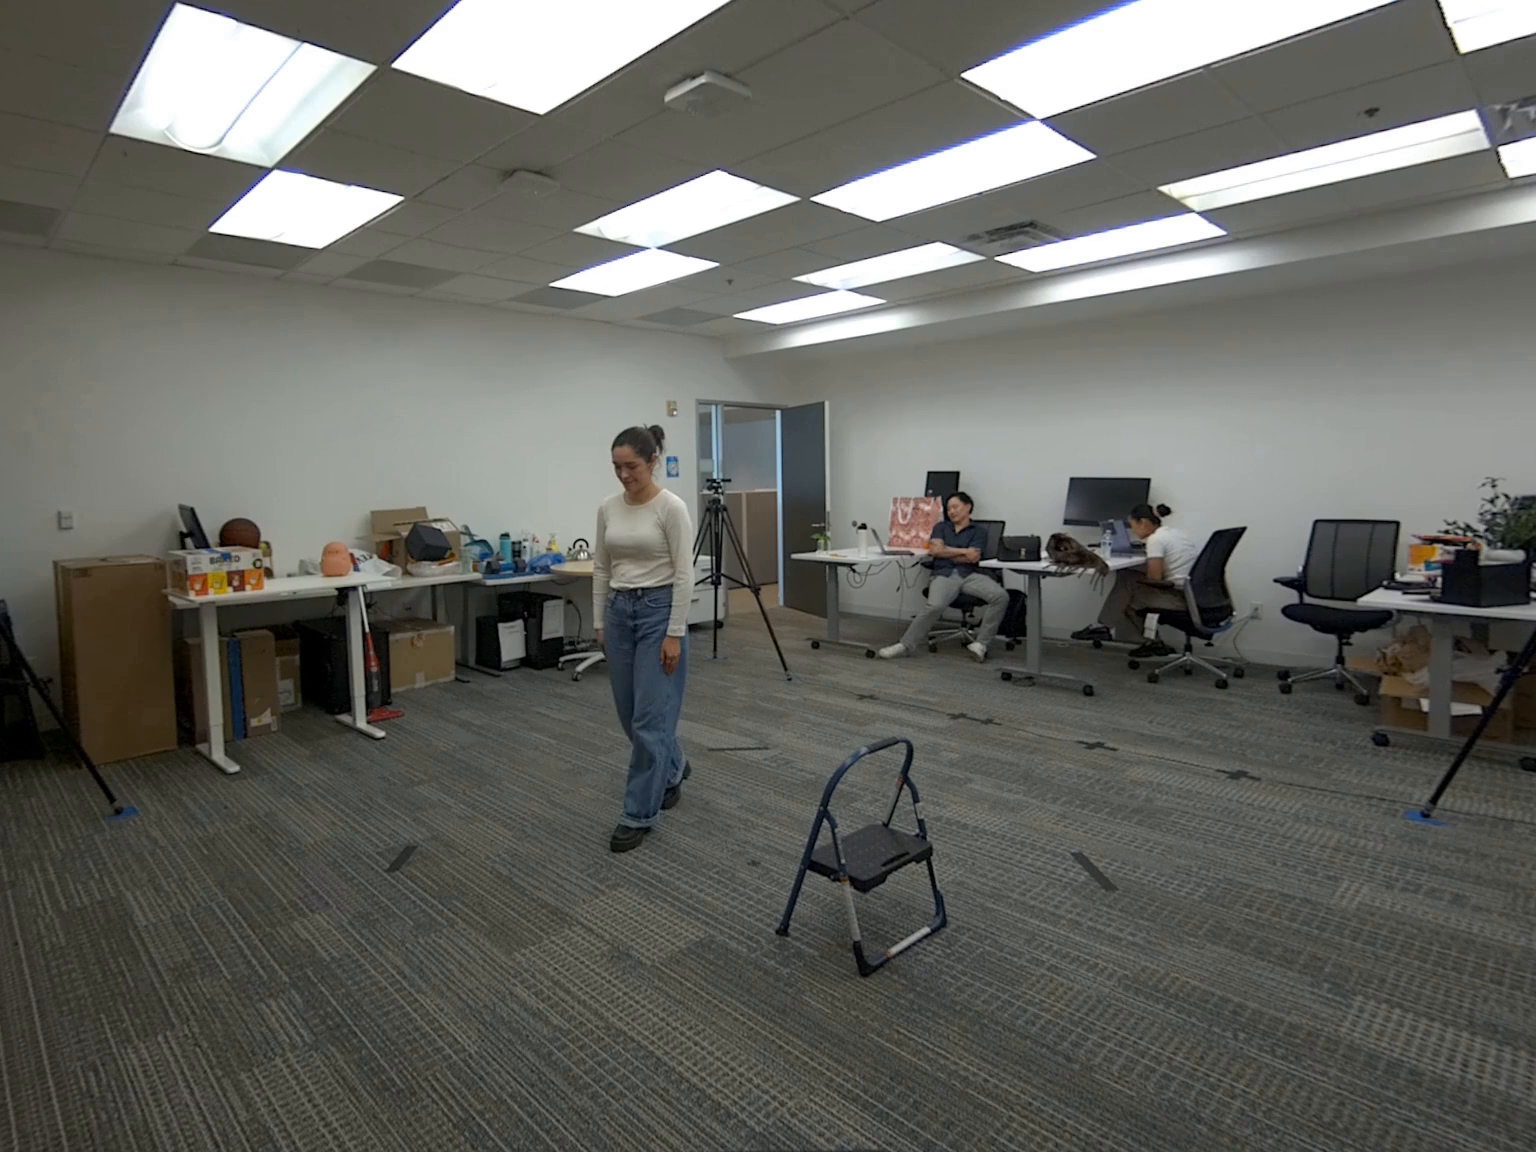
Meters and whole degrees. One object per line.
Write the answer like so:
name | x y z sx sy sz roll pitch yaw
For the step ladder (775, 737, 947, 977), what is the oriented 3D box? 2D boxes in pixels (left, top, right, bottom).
step ladder | 0.291 0.792 2.625 0.419 0.604 0.360 -6 6 -45
